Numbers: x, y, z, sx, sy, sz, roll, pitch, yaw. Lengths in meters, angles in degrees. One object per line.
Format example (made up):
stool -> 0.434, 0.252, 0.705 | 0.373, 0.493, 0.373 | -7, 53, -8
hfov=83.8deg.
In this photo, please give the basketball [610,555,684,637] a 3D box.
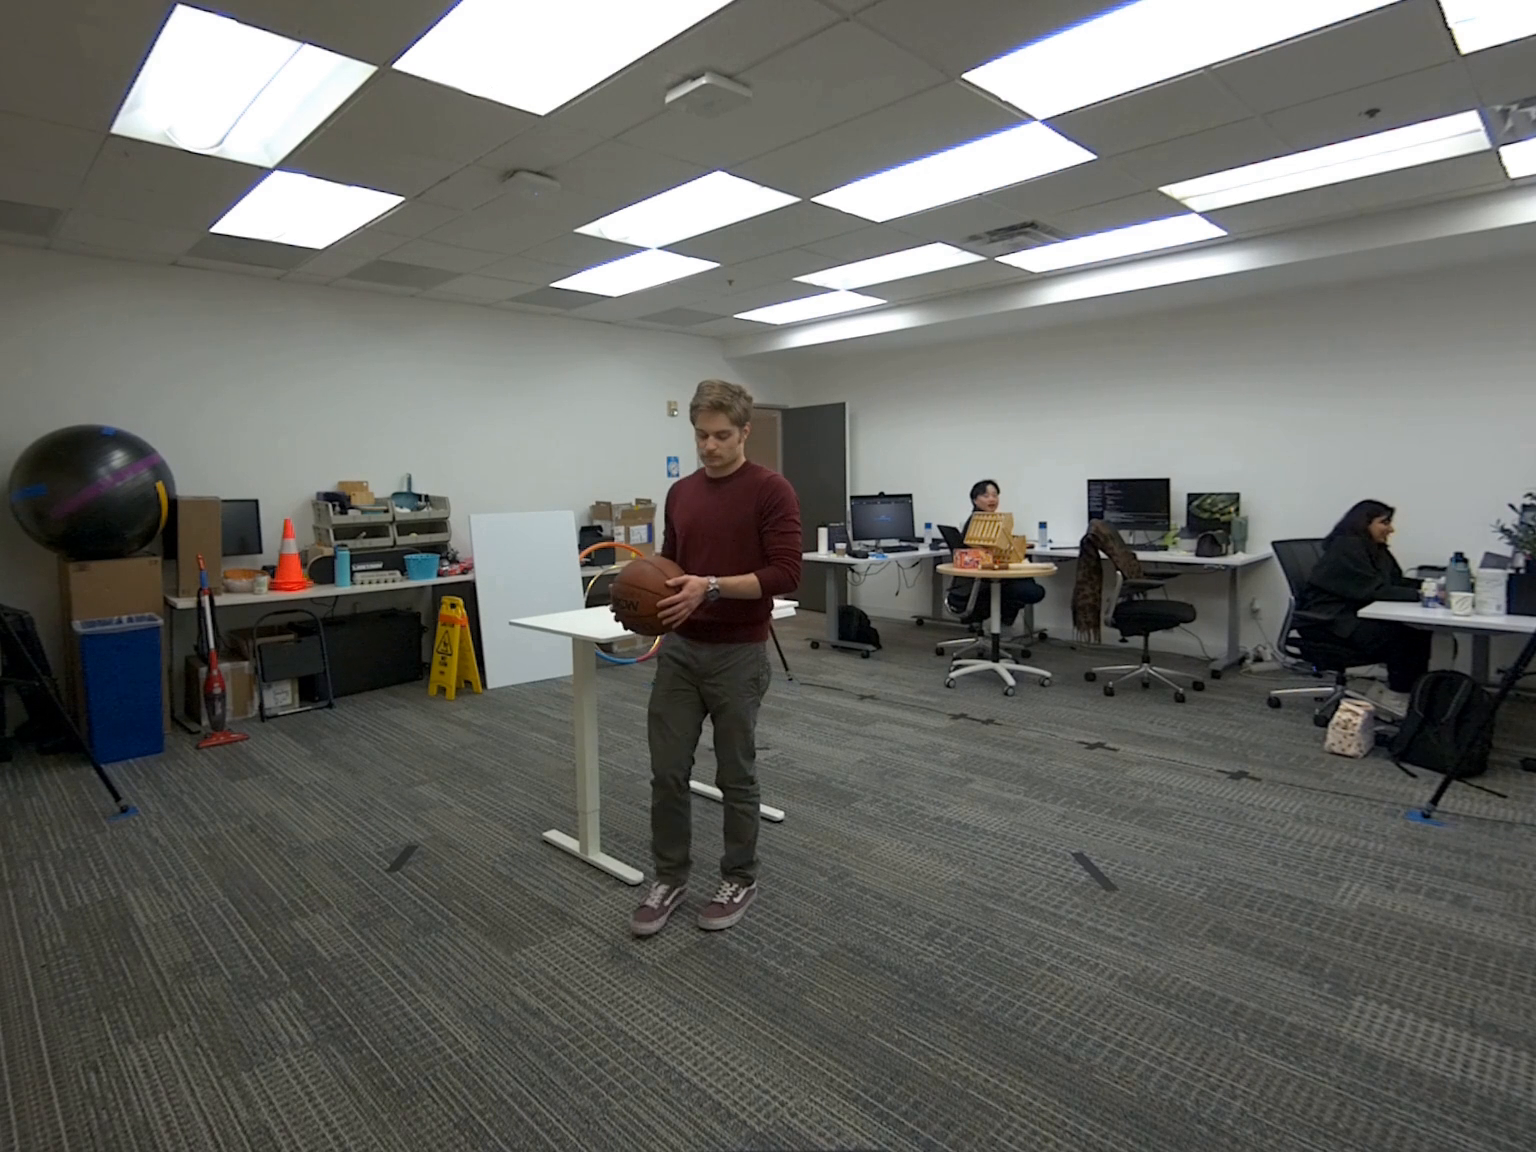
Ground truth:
basketball -> -0.343, 0.061, 2.540 | 0.236, 0.235, 0.237 | -1, 5, -2
